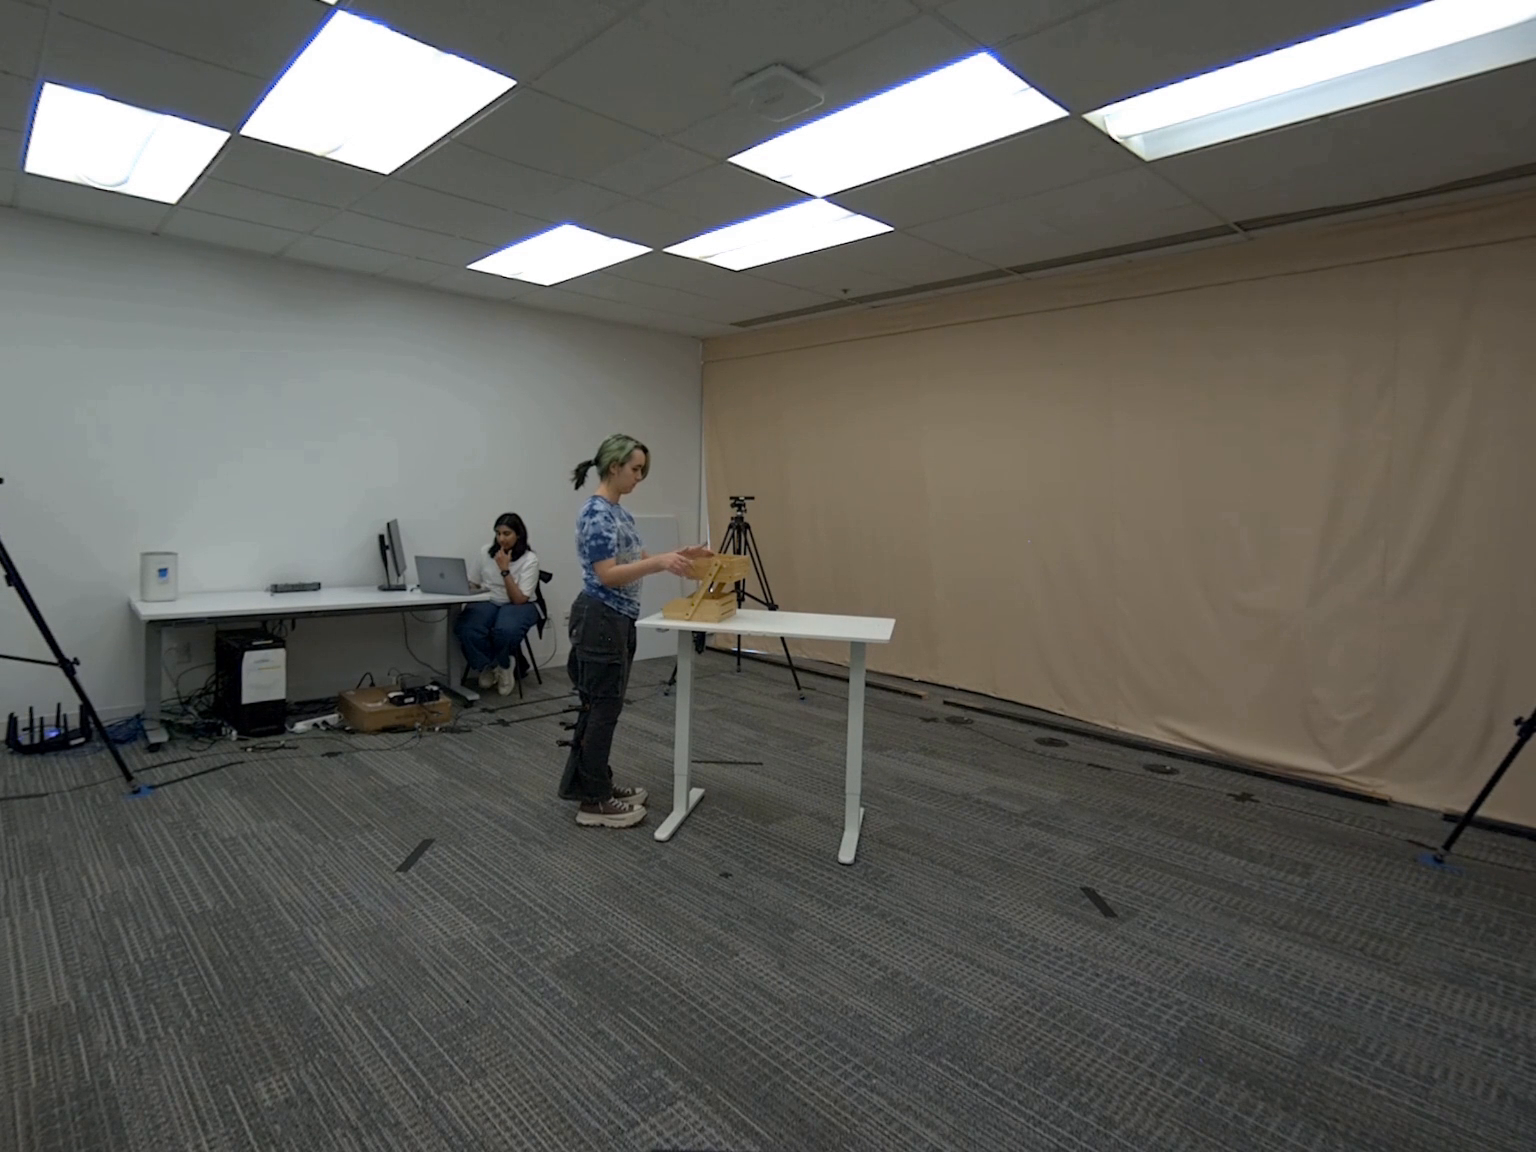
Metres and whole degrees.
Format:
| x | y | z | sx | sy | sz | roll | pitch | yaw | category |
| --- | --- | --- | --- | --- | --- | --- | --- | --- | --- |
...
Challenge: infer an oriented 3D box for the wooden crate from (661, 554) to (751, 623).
| x | y | z | sx | sy | sz | roll | pitch | yaw | category |
| --- | --- | --- | --- | --- | --- | --- | --- | --- | --- |
| -0.276 | 0.041 | 3.586 | 0.305 | 0.272 | 0.322 | 4 | 4 | 12 | wooden crate |
